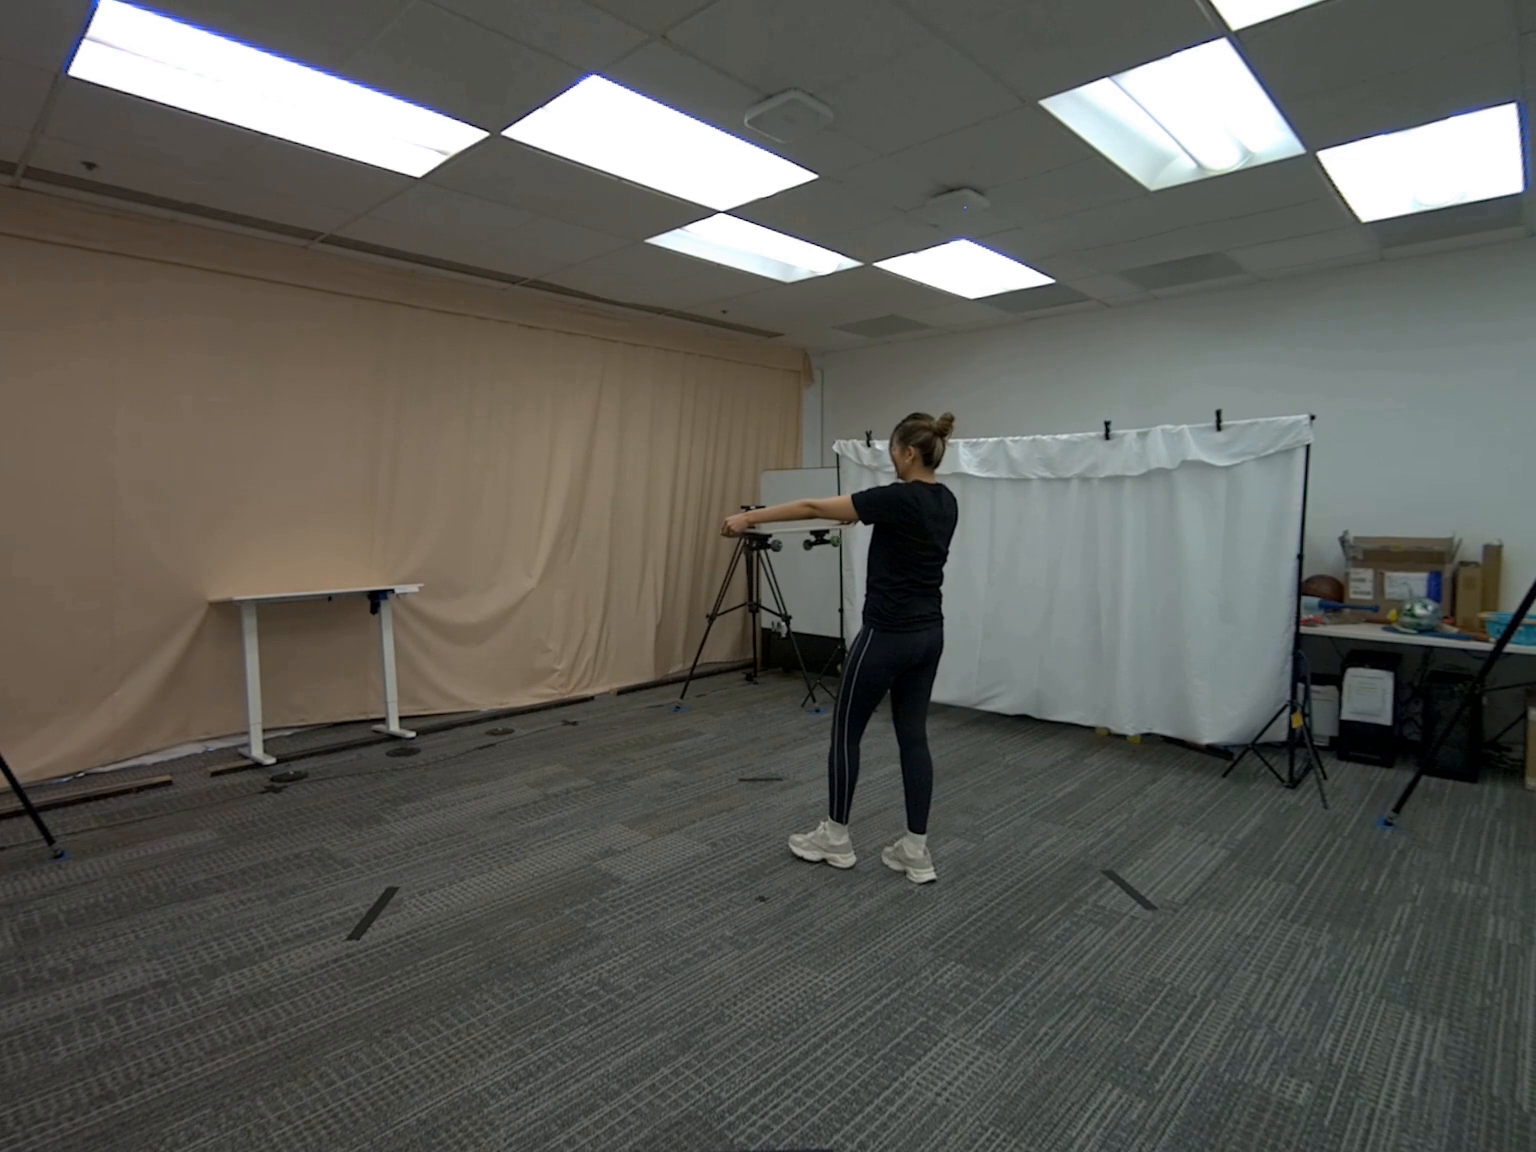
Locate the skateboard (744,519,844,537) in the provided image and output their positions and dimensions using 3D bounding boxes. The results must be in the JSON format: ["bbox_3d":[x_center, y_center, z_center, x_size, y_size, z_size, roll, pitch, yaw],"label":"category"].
[{"bbox_3d":[0.104,-0.158,3.559,0.199,0.110,0.762,-11,-3,42],"label":"skateboard"}]
